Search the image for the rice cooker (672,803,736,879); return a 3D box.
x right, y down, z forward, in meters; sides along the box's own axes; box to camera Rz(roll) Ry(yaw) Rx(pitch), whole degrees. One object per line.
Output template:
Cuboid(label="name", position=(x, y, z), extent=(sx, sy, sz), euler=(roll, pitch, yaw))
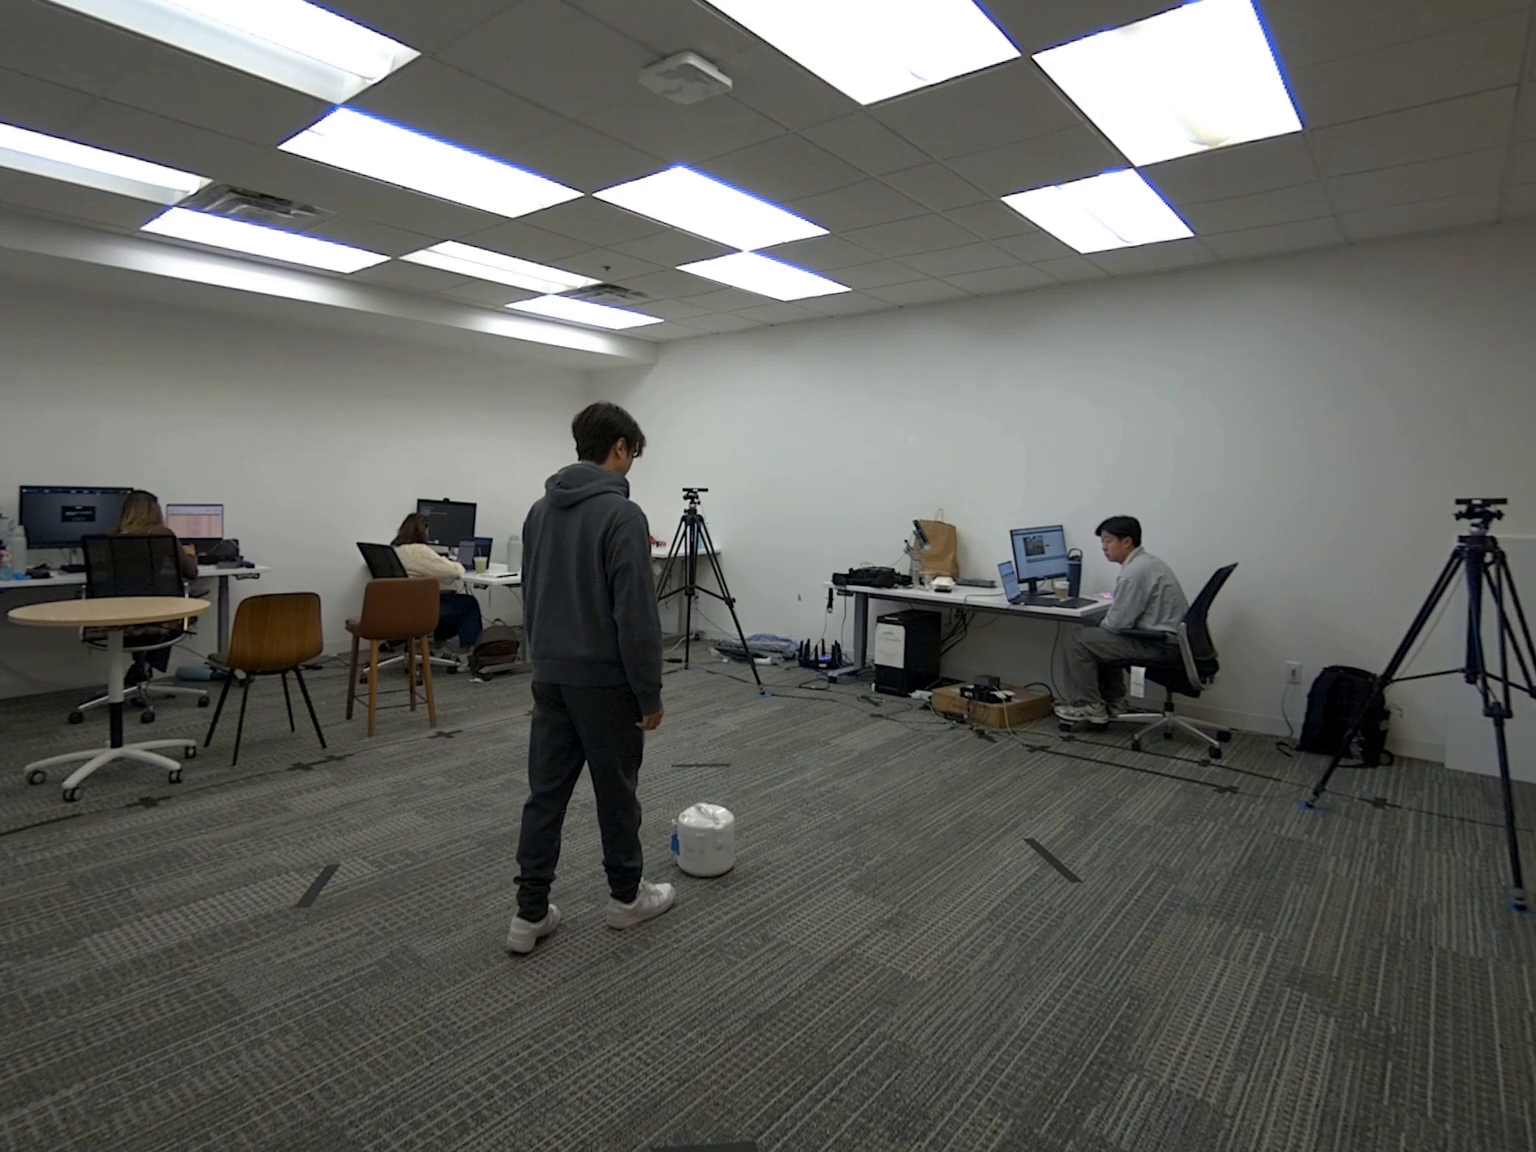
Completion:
Cuboid(label="rice cooker", position=(-0.237, 0.950, 3.118), extent=(0.212, 0.232, 0.227), euler=(-2, 5, -29))
